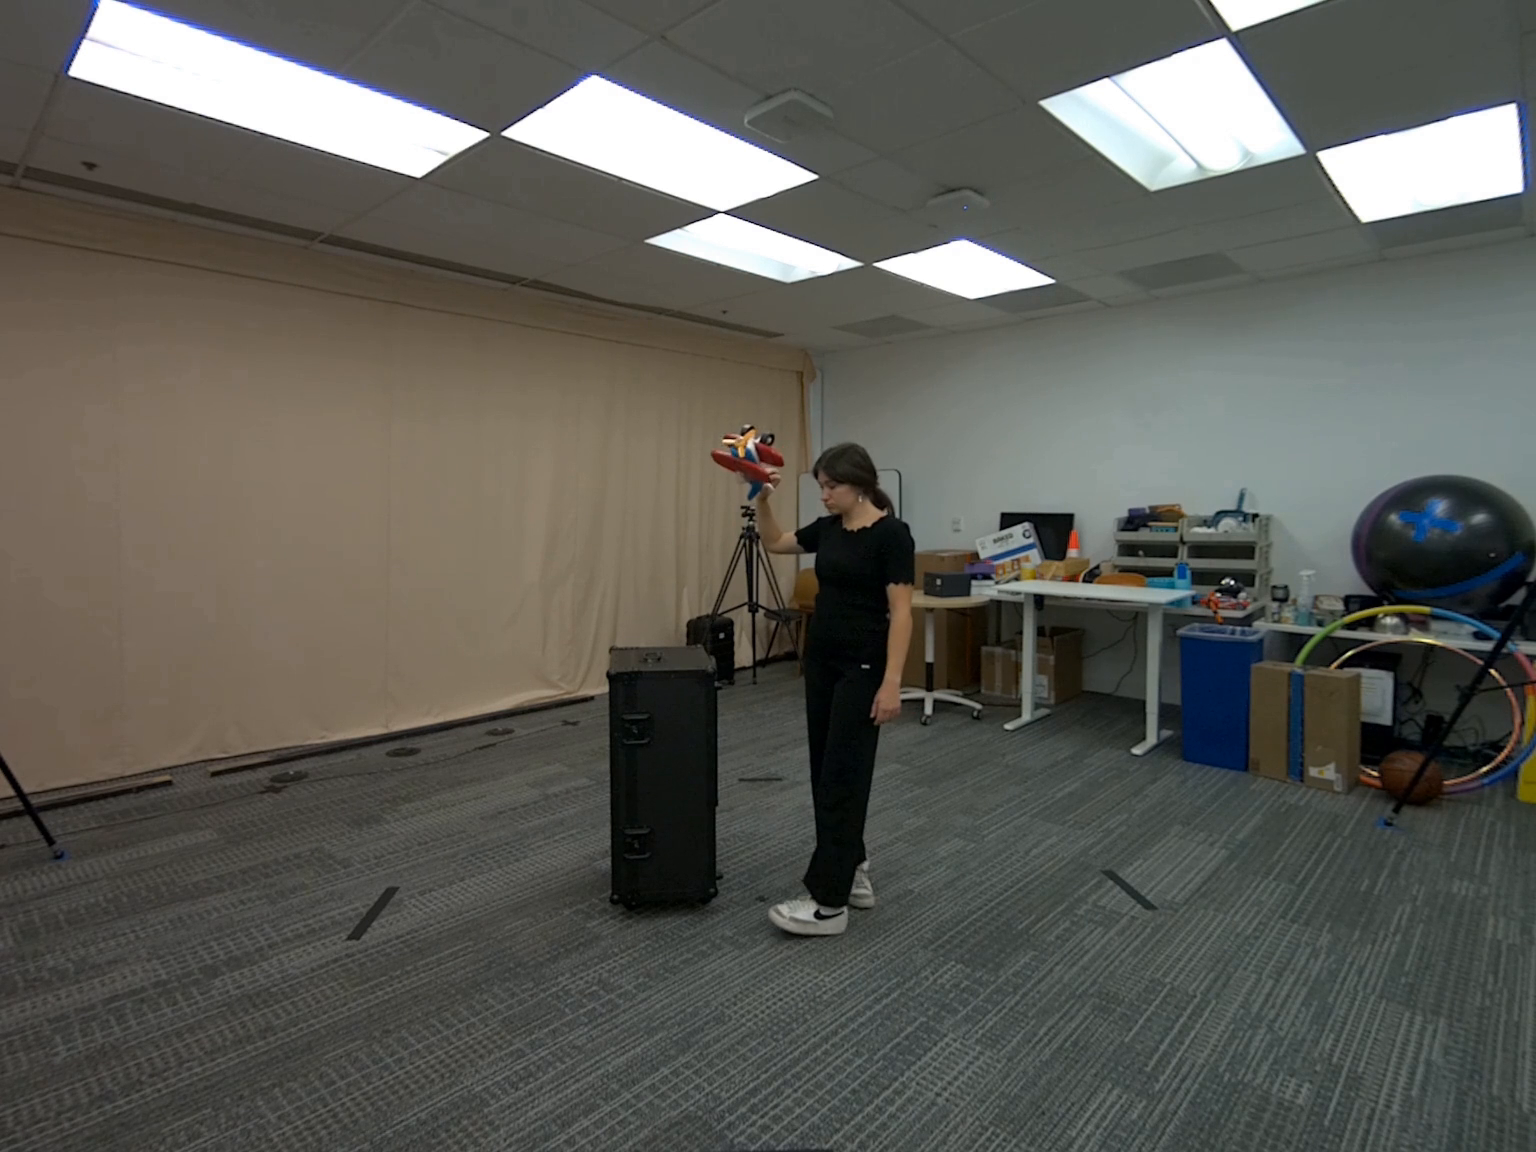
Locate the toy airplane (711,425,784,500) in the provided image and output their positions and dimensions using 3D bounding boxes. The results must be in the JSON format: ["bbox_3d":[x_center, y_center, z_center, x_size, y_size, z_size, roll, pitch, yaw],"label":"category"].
[{"bbox_3d":[-0.035,-0.379,2.887,0.155,0.254,0.258,-42,23,-29],"label":"toy airplane"}]
